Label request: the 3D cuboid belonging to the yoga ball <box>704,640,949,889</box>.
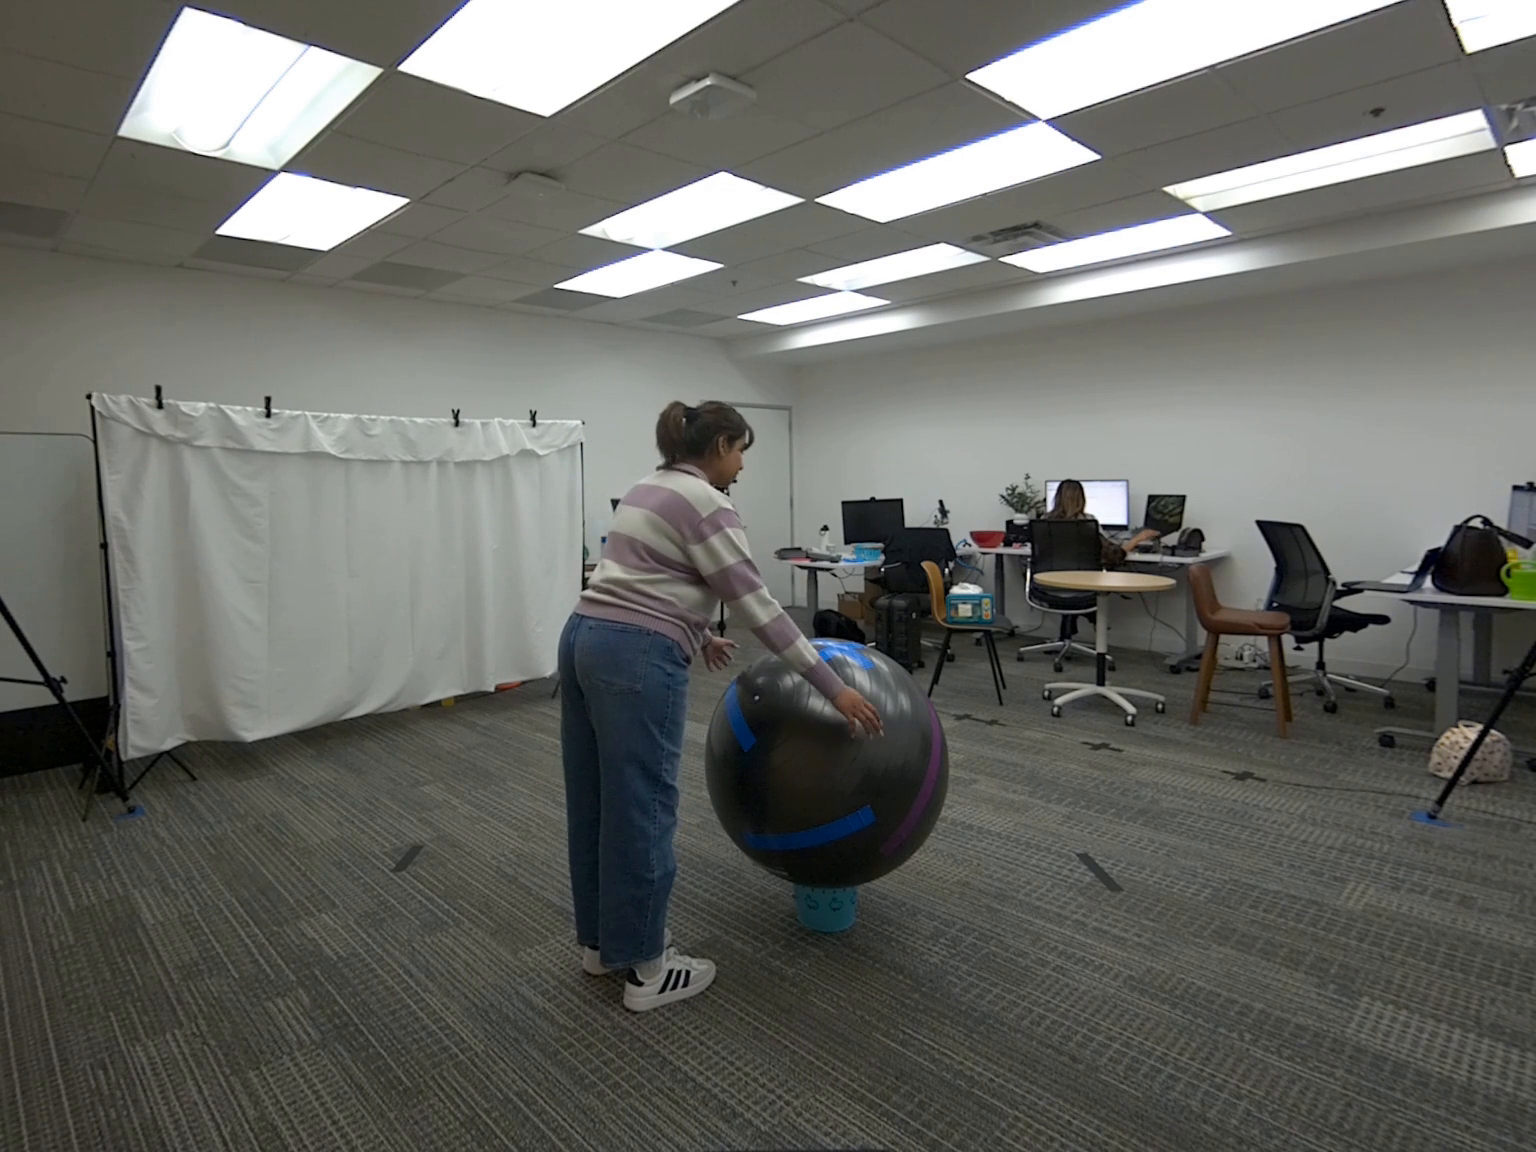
[{"bbox_3d":[0.184,0.586,2.684,0.757,0.755,0.762,-1,5,-2],"label":"yoga ball"}]
